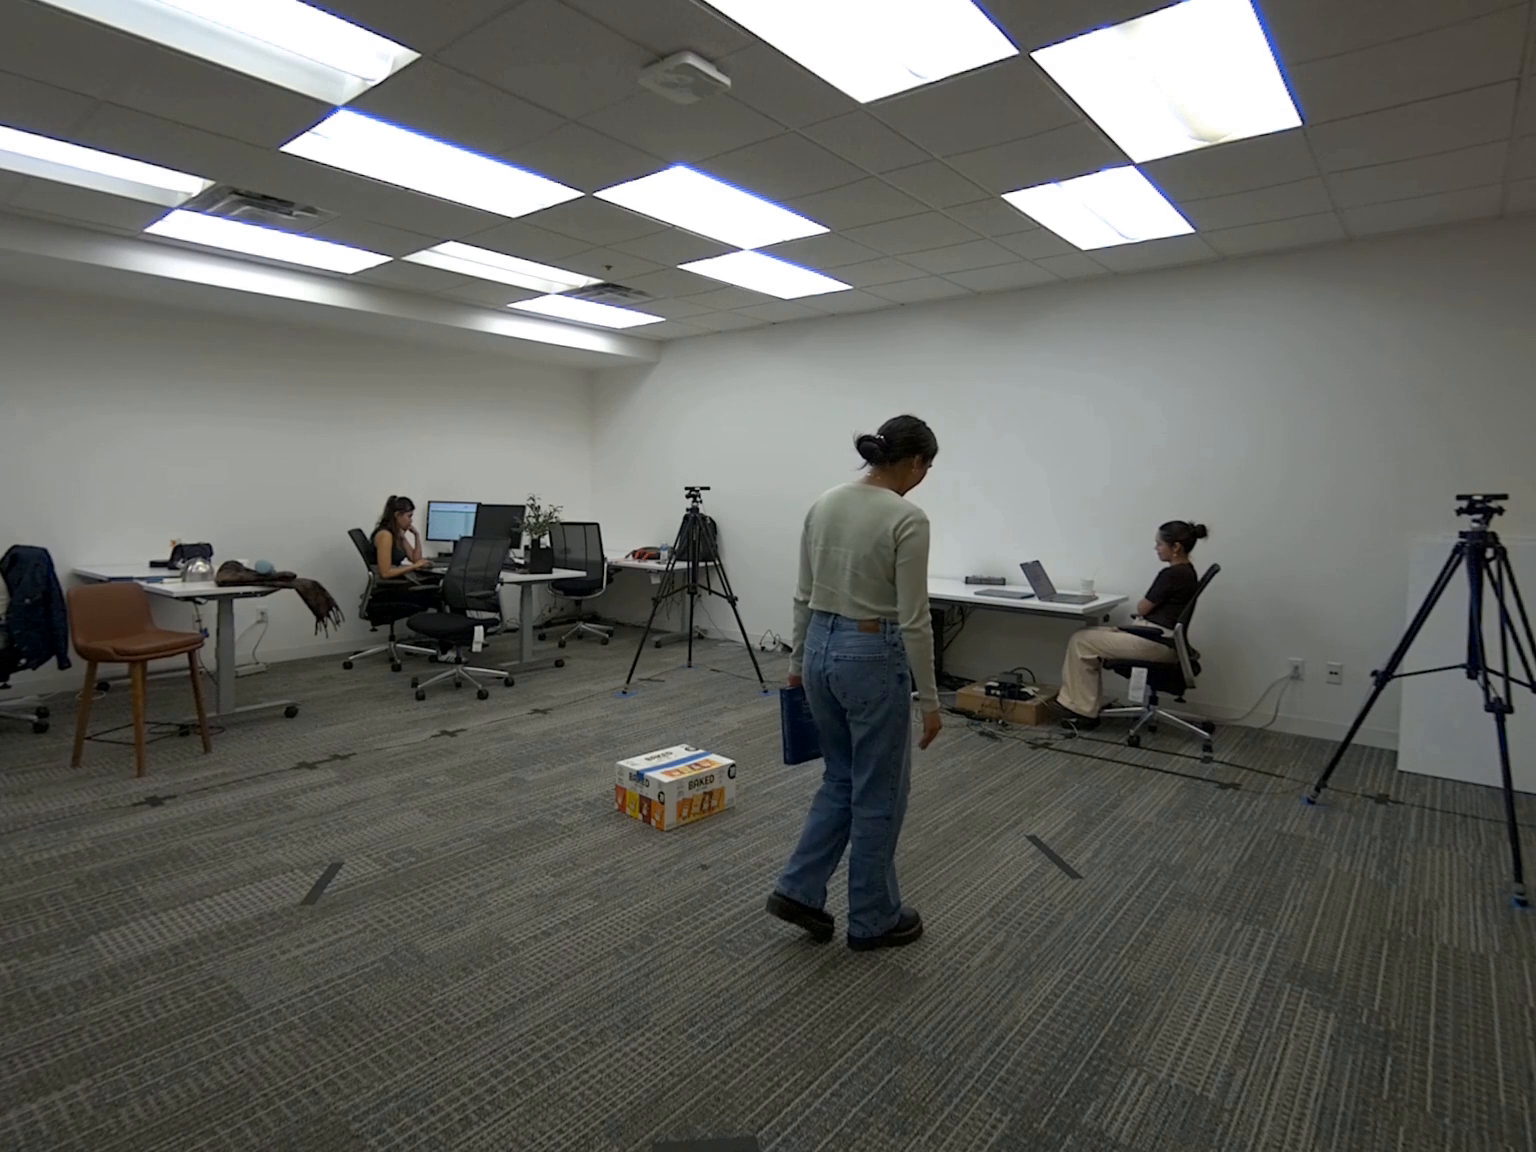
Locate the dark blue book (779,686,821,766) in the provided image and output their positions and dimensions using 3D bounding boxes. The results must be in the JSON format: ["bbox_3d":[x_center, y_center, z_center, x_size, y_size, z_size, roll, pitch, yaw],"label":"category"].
[{"bbox_3d":[0.107,0.481,2.776,0.158,0.246,0.046,-3,-3,-43],"label":"dark blue book"}]
